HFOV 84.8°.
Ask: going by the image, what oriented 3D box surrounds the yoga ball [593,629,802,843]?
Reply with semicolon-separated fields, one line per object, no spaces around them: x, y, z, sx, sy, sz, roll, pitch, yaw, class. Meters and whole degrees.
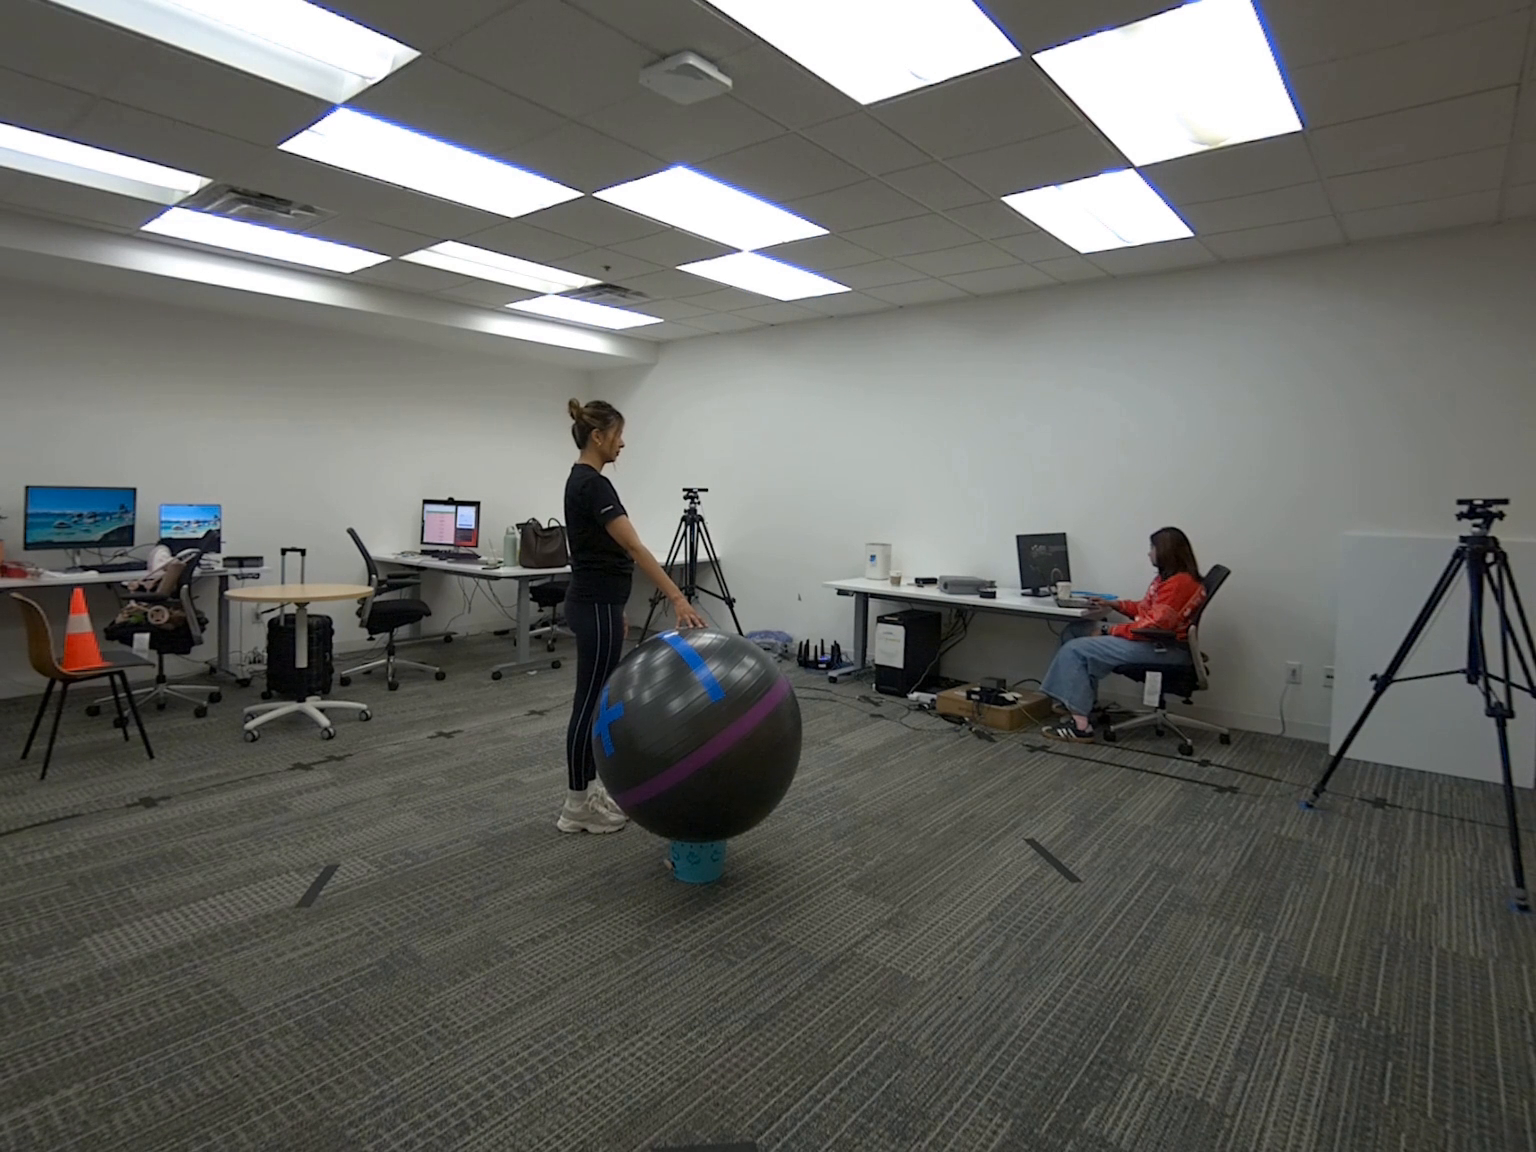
-0.267;0.567;3.071;0.757;0.755;0.762;1;4;-2;yoga ball
